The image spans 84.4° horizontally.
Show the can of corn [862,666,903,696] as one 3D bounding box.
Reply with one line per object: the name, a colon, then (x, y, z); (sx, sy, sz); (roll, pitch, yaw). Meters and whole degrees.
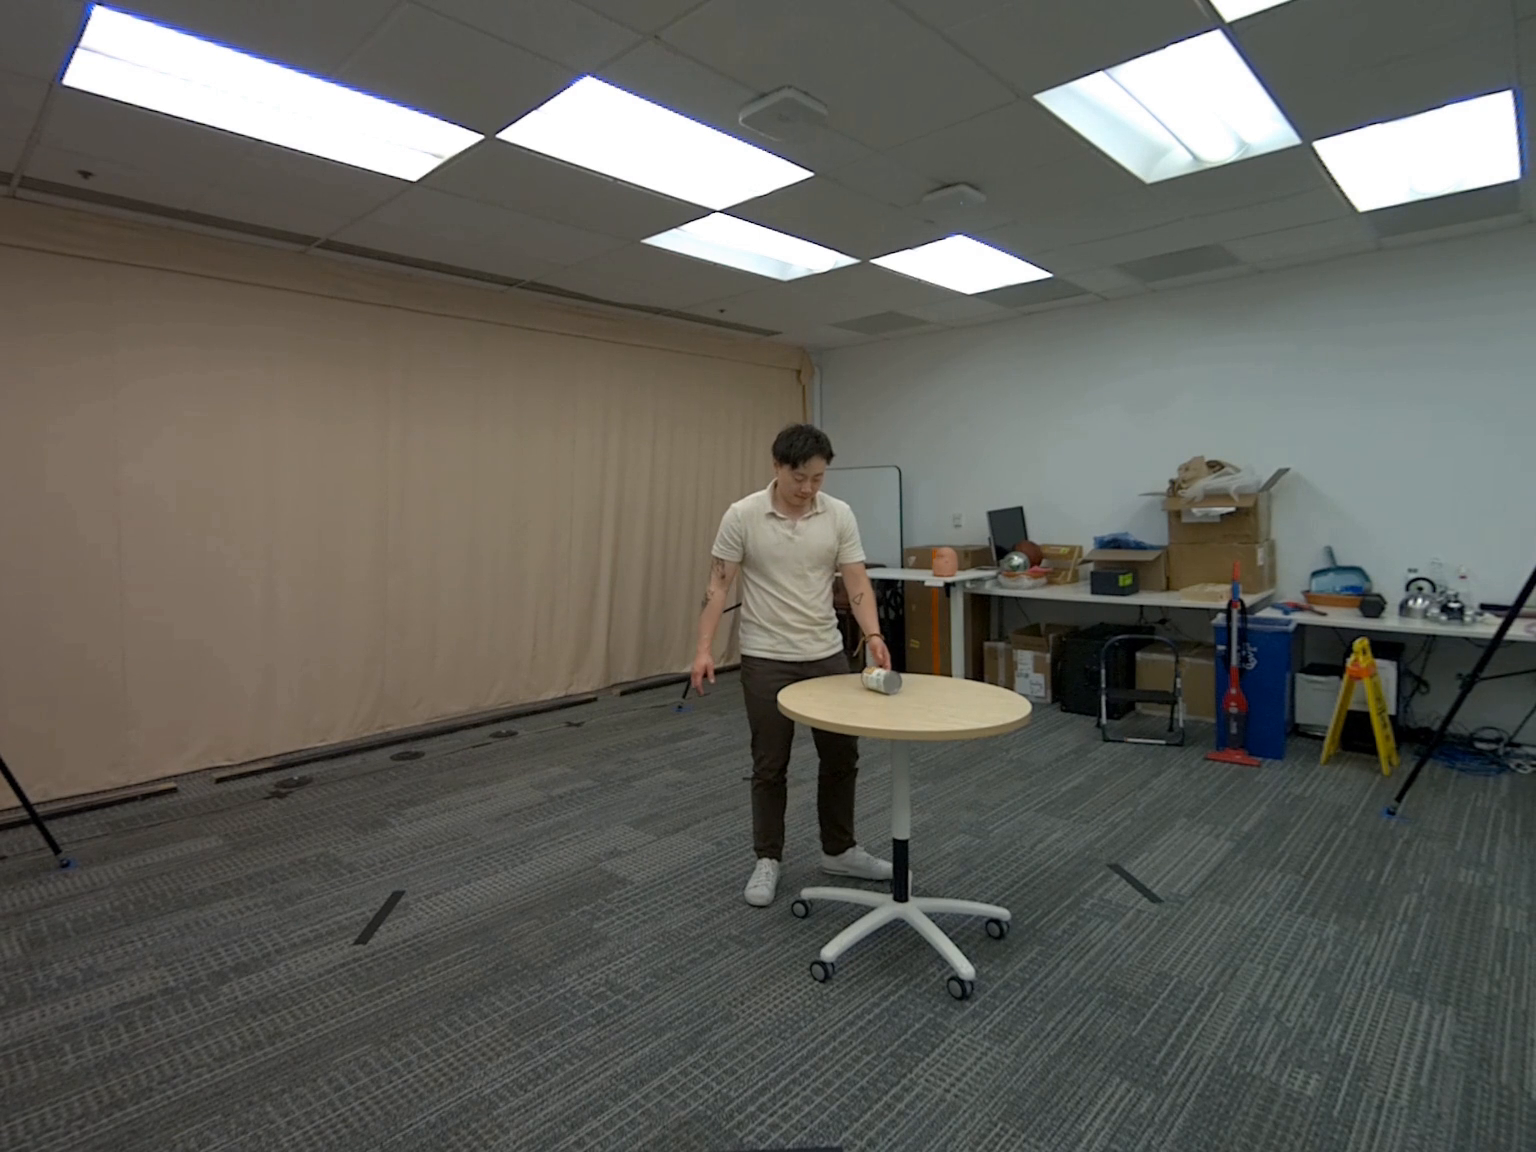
can of corn: (0.357, 0.332, 2.704); (0.072, 0.074, 0.114); (-3, 6, -31)
